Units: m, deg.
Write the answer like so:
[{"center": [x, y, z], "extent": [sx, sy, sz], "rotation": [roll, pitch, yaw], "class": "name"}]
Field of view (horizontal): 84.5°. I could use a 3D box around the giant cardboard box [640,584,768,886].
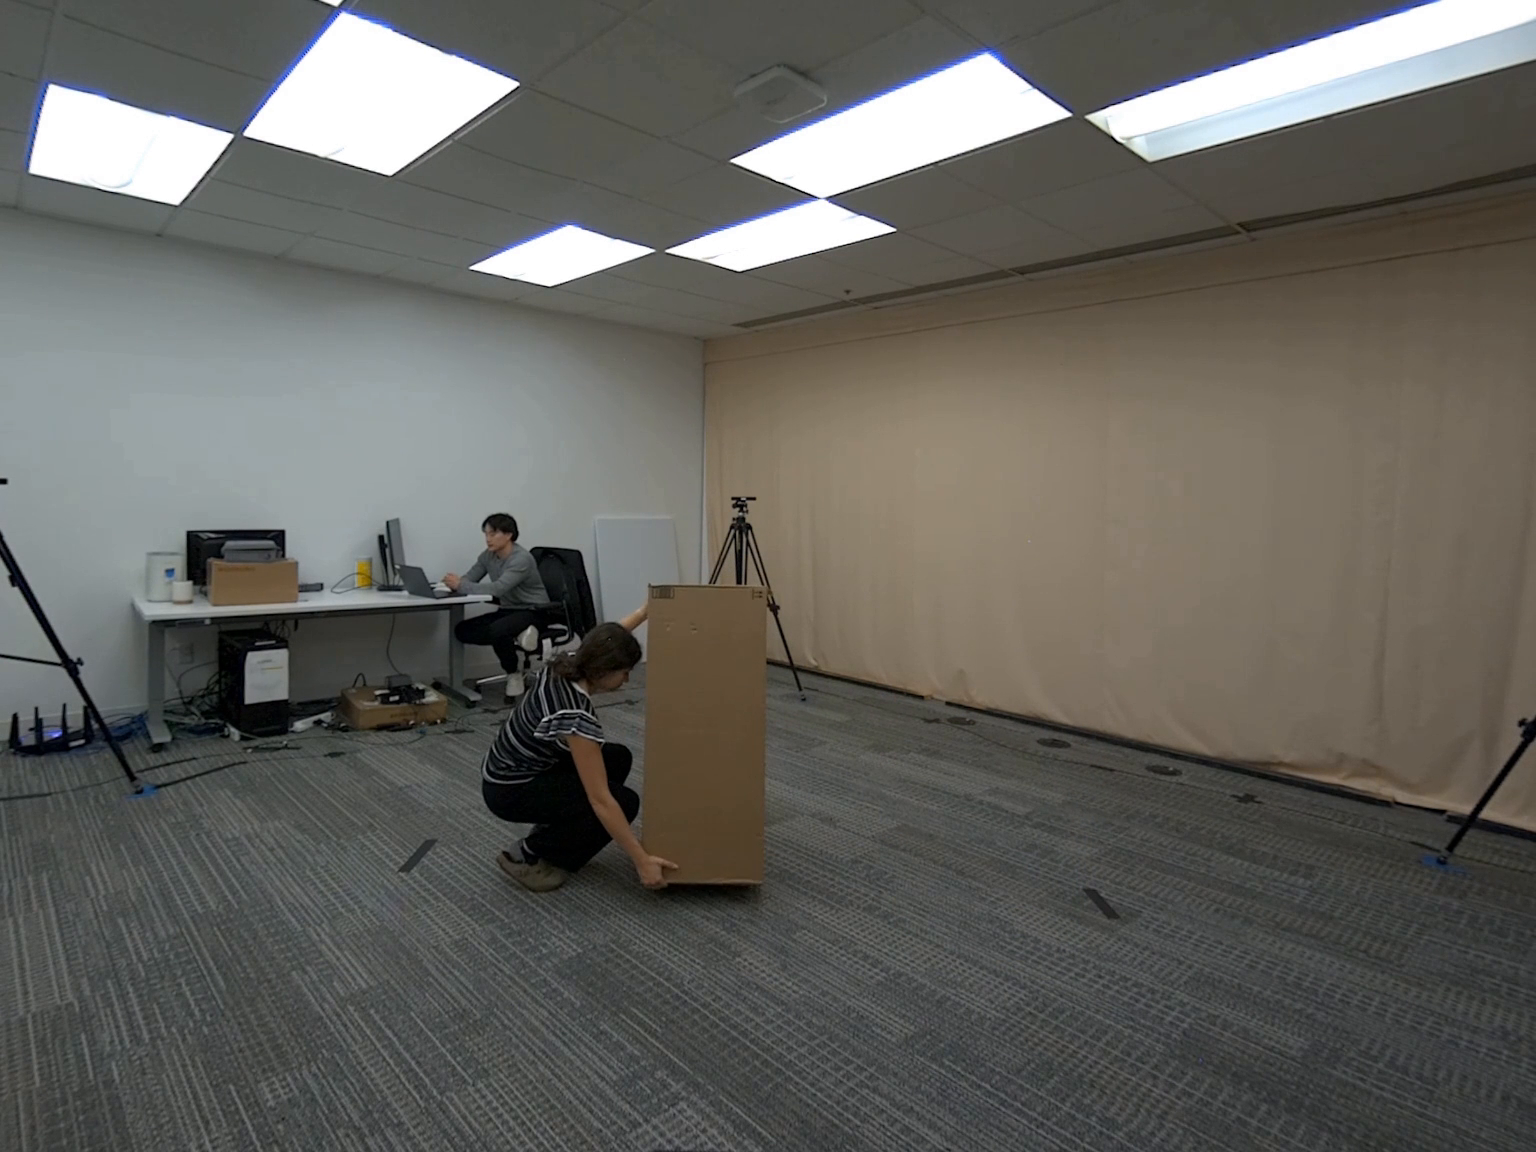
[{"center": [-0.252, 0.557, 3.191], "extent": [0.424, 1.029, 0.578], "rotation": [1, -4, -6], "class": "giant cardboard box"}]
